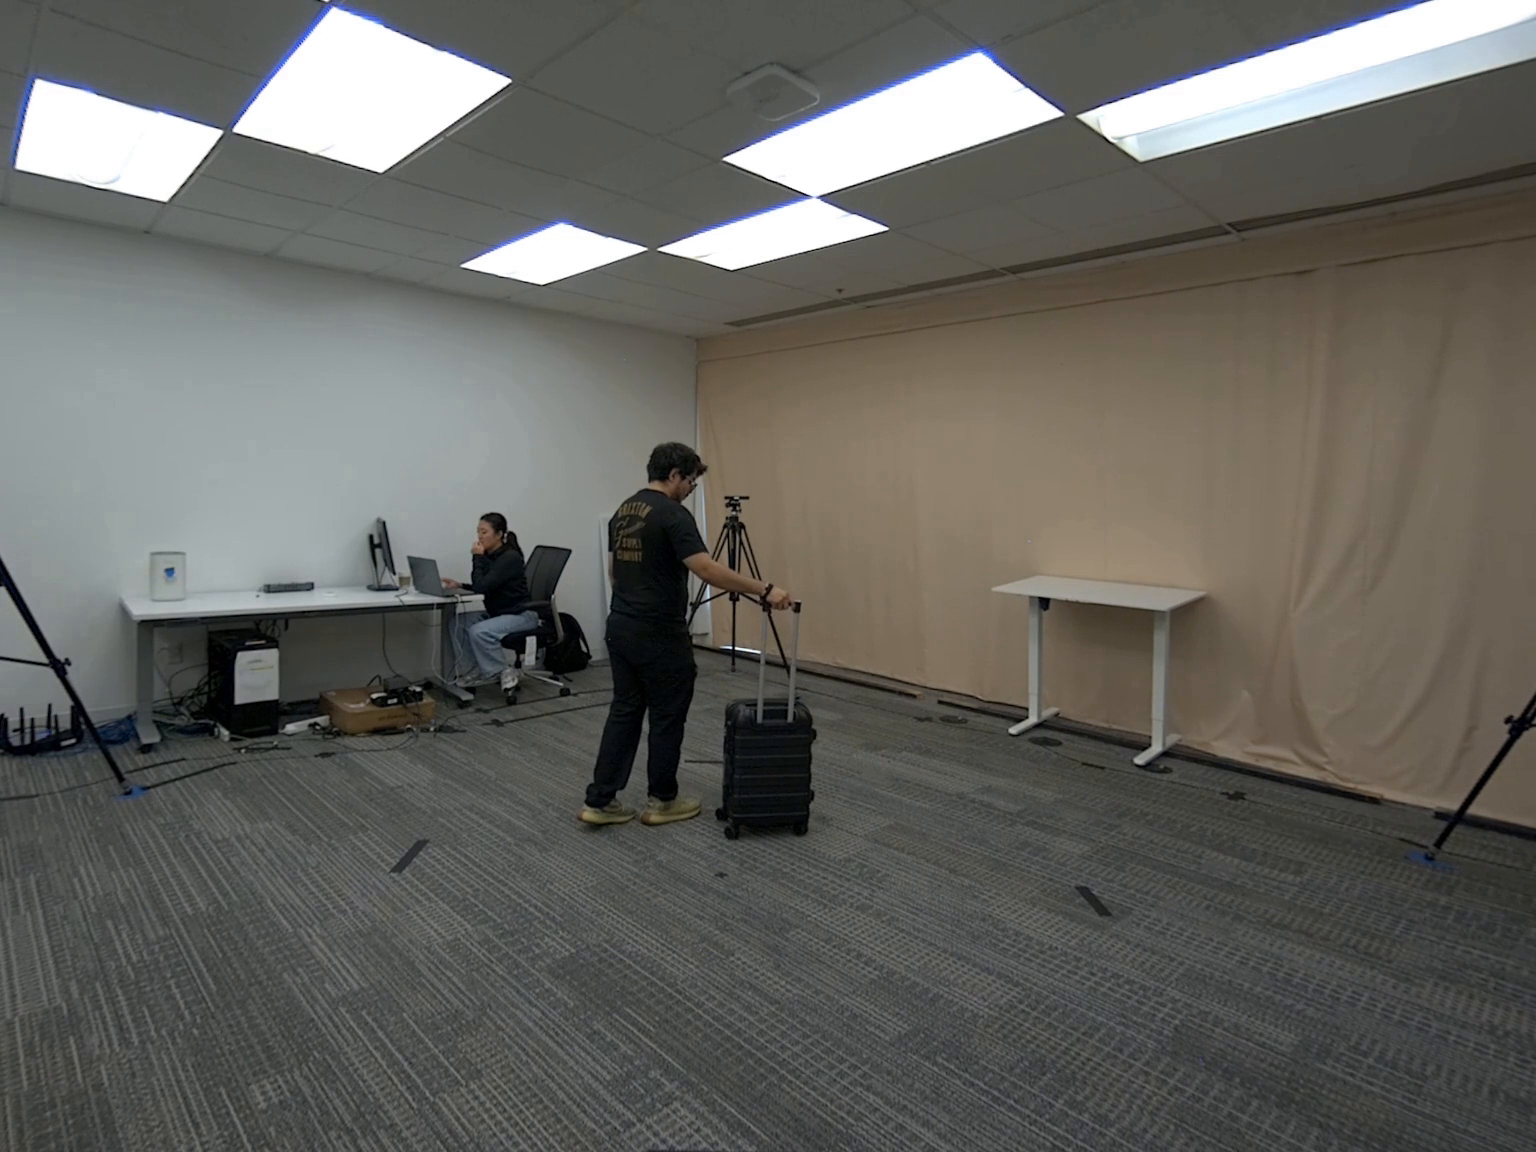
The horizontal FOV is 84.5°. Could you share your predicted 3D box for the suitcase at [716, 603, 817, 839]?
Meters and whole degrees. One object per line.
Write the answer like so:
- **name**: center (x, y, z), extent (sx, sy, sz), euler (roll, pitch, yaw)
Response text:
- **suitcase**: center (-0.004, 0.589, 3.532), extent (0.381, 0.978, 0.259), euler (3, 1, -9)
